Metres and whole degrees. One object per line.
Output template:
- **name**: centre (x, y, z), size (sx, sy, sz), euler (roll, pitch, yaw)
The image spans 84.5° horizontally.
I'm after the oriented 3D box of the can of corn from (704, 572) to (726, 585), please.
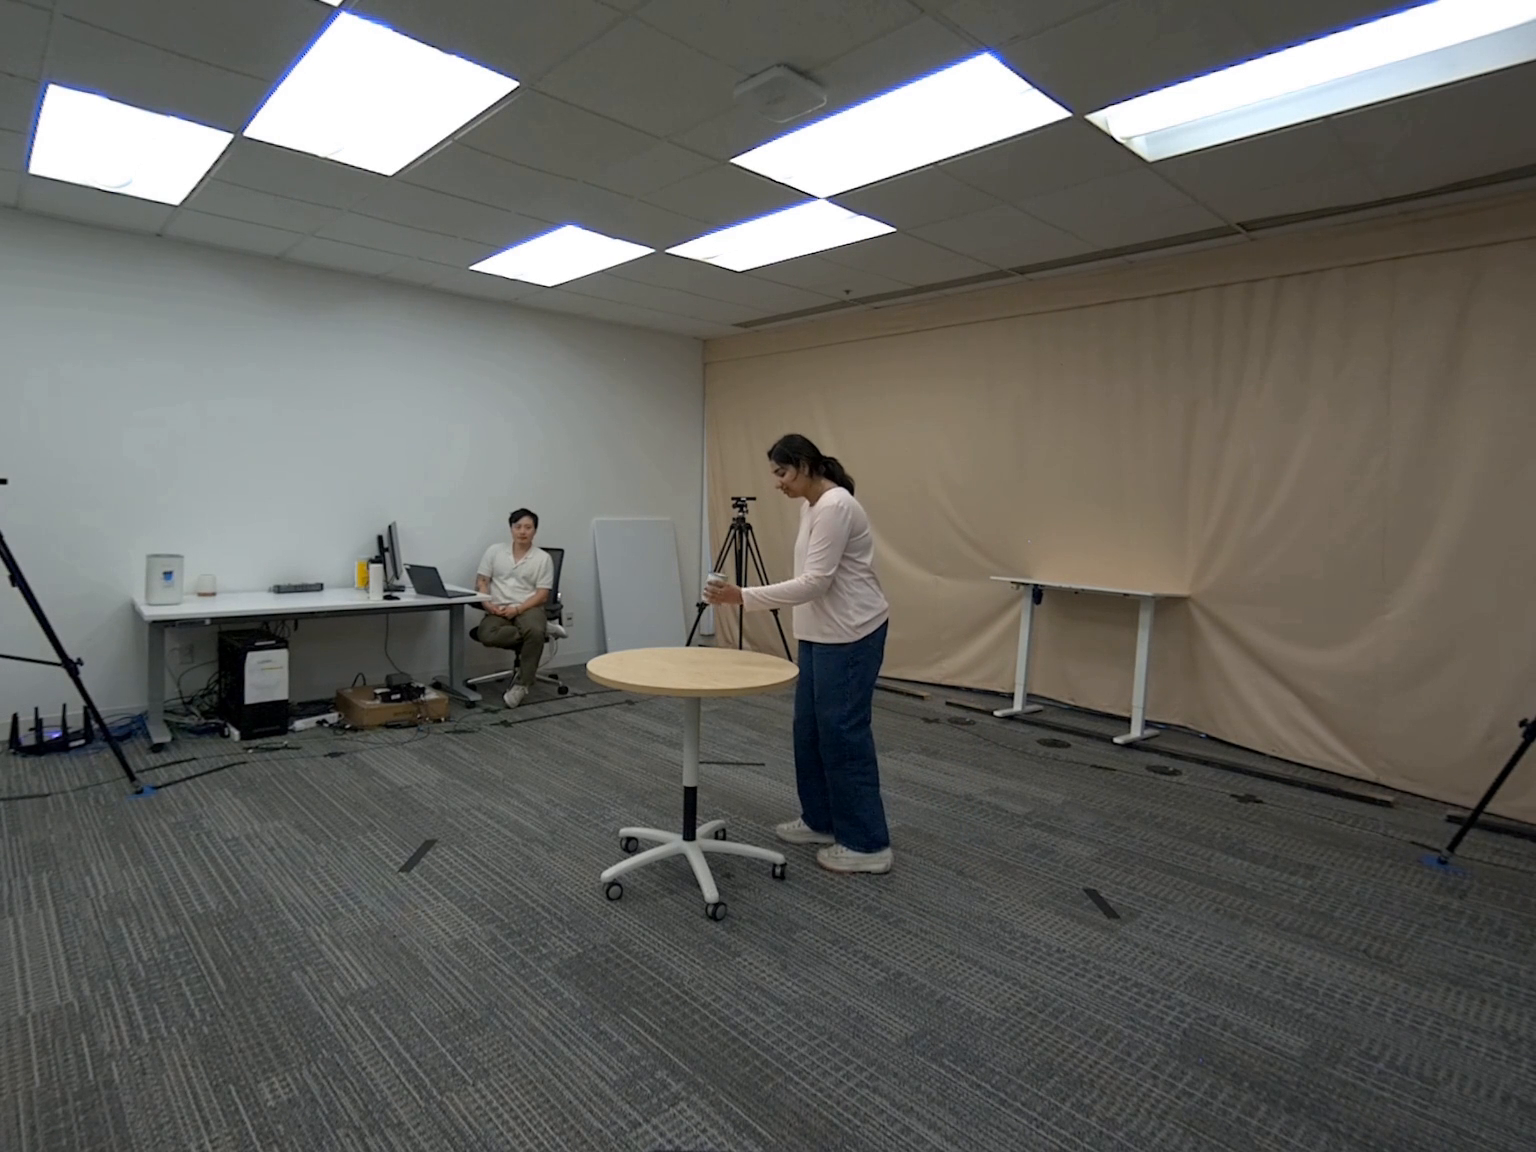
- **can of corn**: centre (-0.195, 0.053, 3.120), size (0.074, 0.111, 0.074), euler (11, 3, -2)
